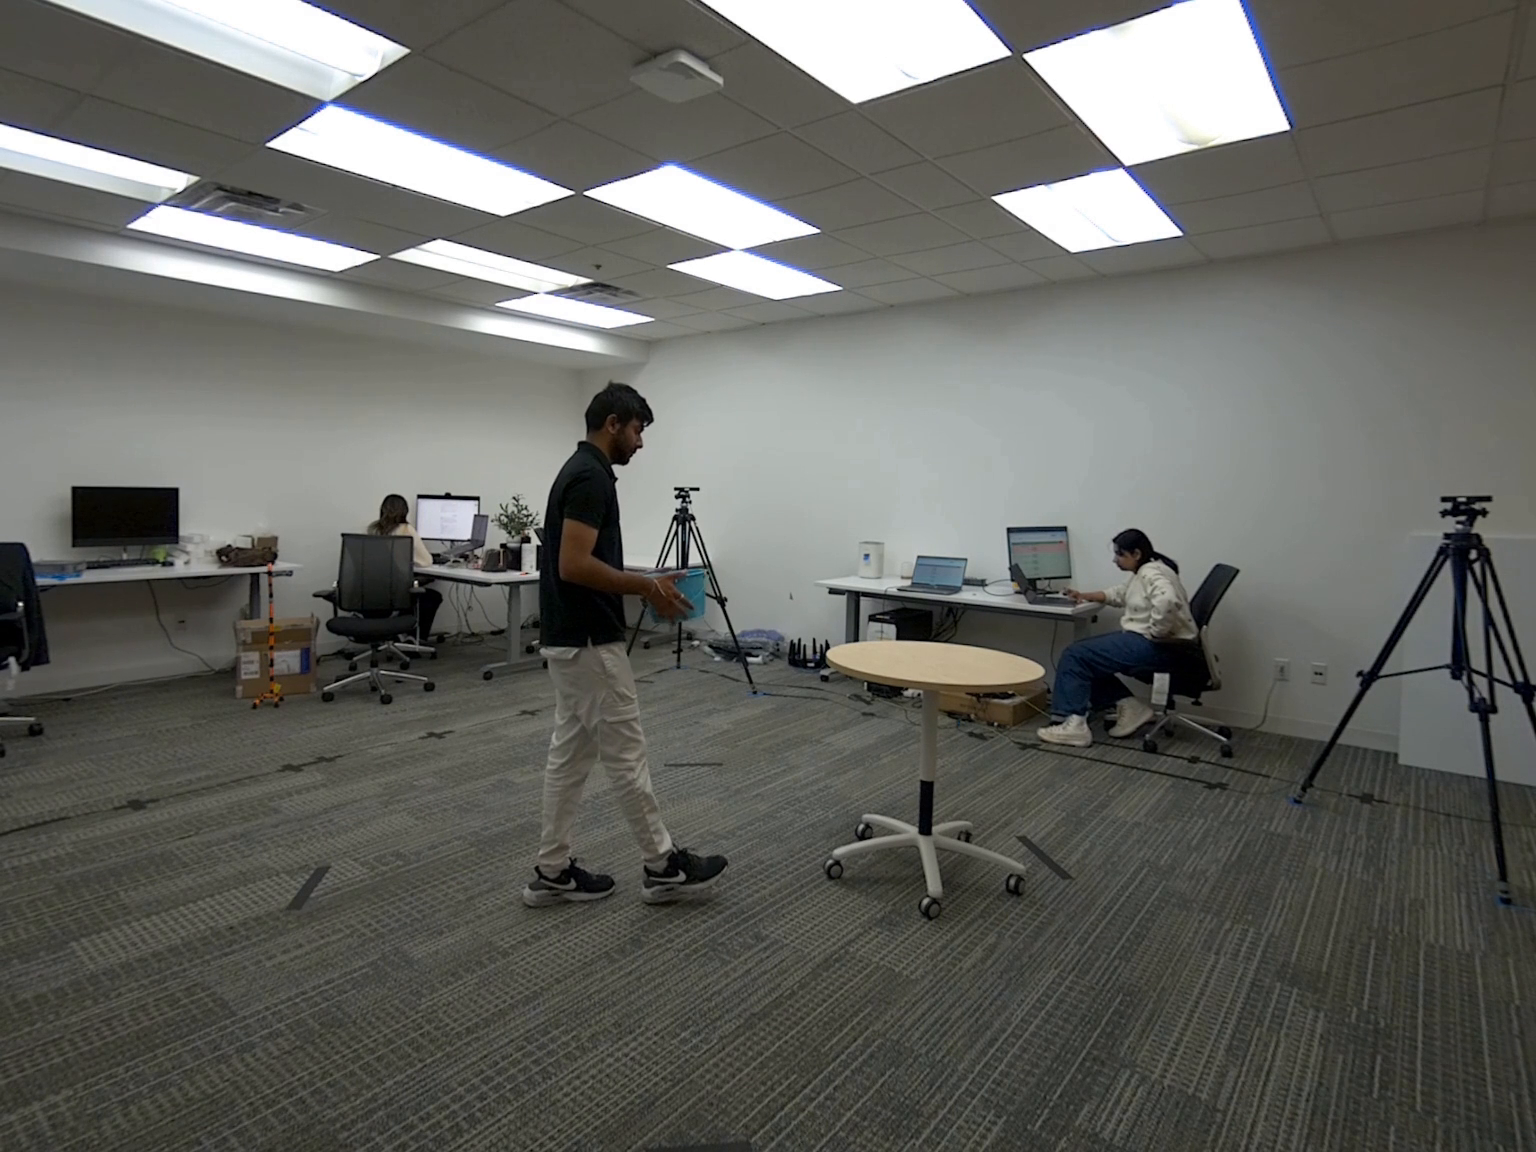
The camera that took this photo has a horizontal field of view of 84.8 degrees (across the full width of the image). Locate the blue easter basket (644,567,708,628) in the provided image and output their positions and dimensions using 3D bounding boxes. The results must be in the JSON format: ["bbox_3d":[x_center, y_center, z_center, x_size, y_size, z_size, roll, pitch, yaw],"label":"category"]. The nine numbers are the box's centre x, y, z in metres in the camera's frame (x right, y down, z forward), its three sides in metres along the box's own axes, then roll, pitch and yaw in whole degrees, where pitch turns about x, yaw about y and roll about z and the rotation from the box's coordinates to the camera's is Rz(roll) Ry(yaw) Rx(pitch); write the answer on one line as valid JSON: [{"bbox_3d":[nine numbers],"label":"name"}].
[{"bbox_3d":[-0.346,0.065,2.863,0.243,0.155,0.244,-3,3,-2],"label":"blue easter basket"}]
